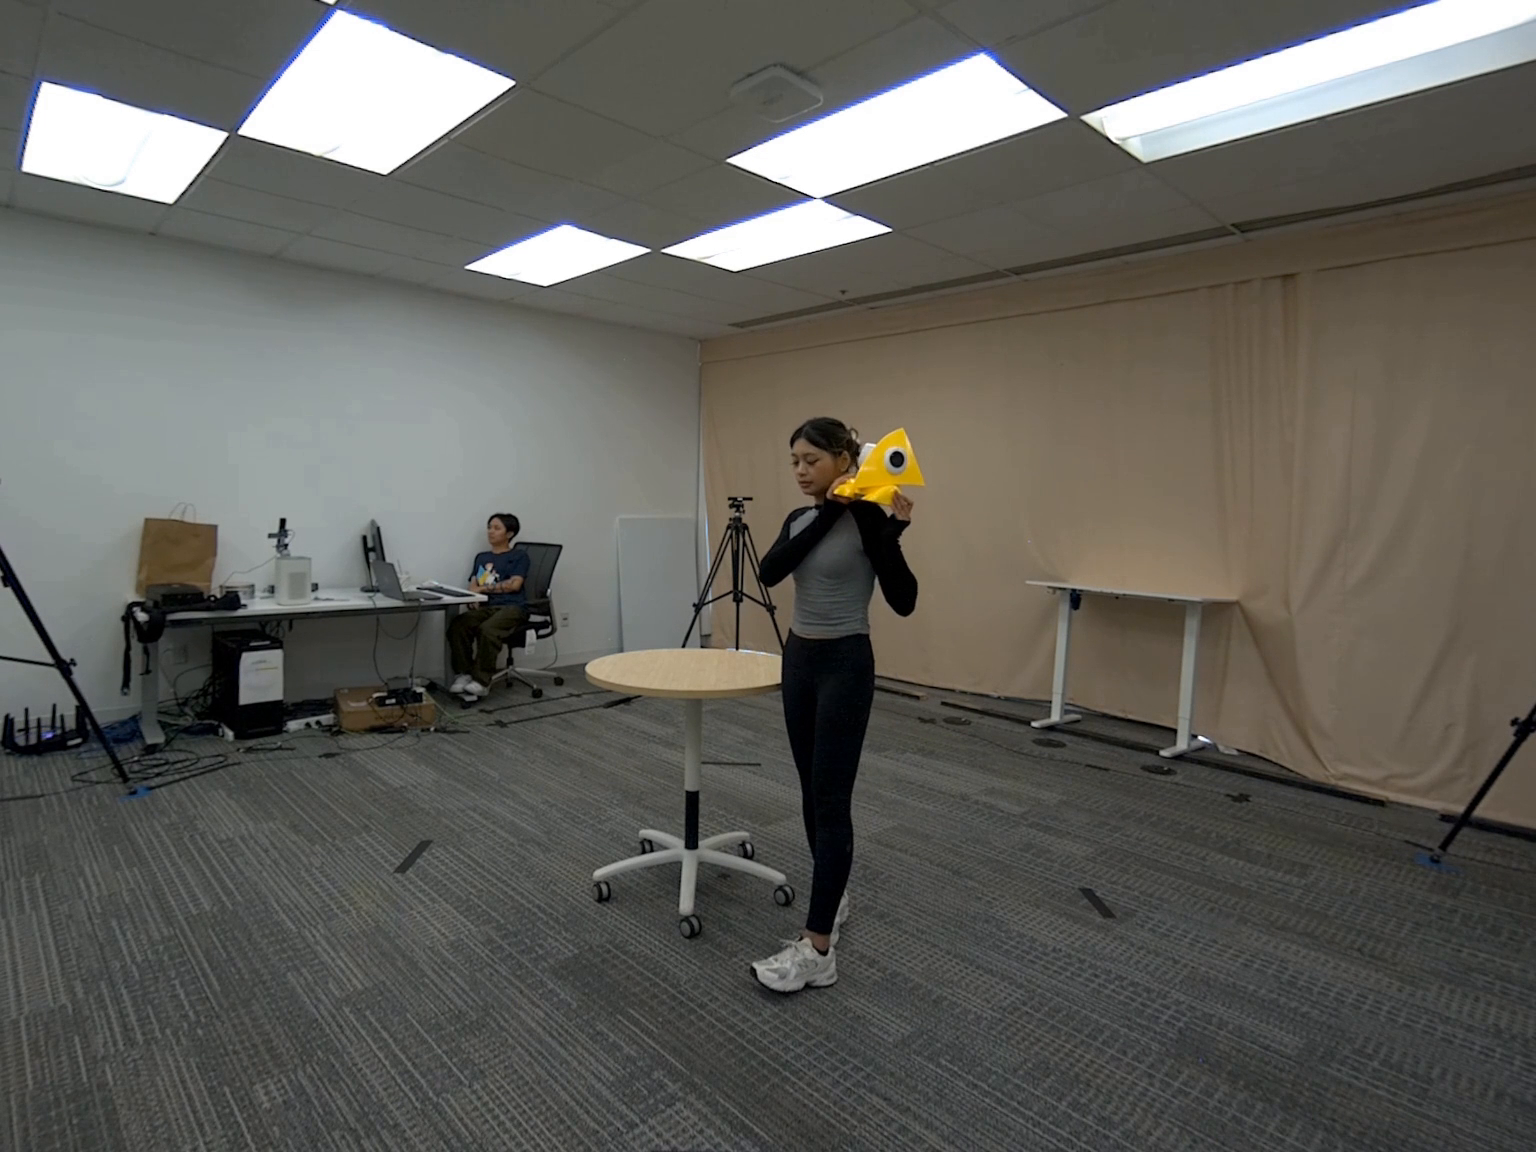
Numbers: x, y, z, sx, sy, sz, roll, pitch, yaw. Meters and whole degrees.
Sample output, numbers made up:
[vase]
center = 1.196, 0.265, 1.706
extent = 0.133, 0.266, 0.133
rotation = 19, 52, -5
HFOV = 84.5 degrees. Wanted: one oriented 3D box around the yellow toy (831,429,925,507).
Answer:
[yellow toy]
center = 0.313, -0.321, 2.404
extent = 0.188, 0.230, 0.211
rotation = 8, 7, -41
